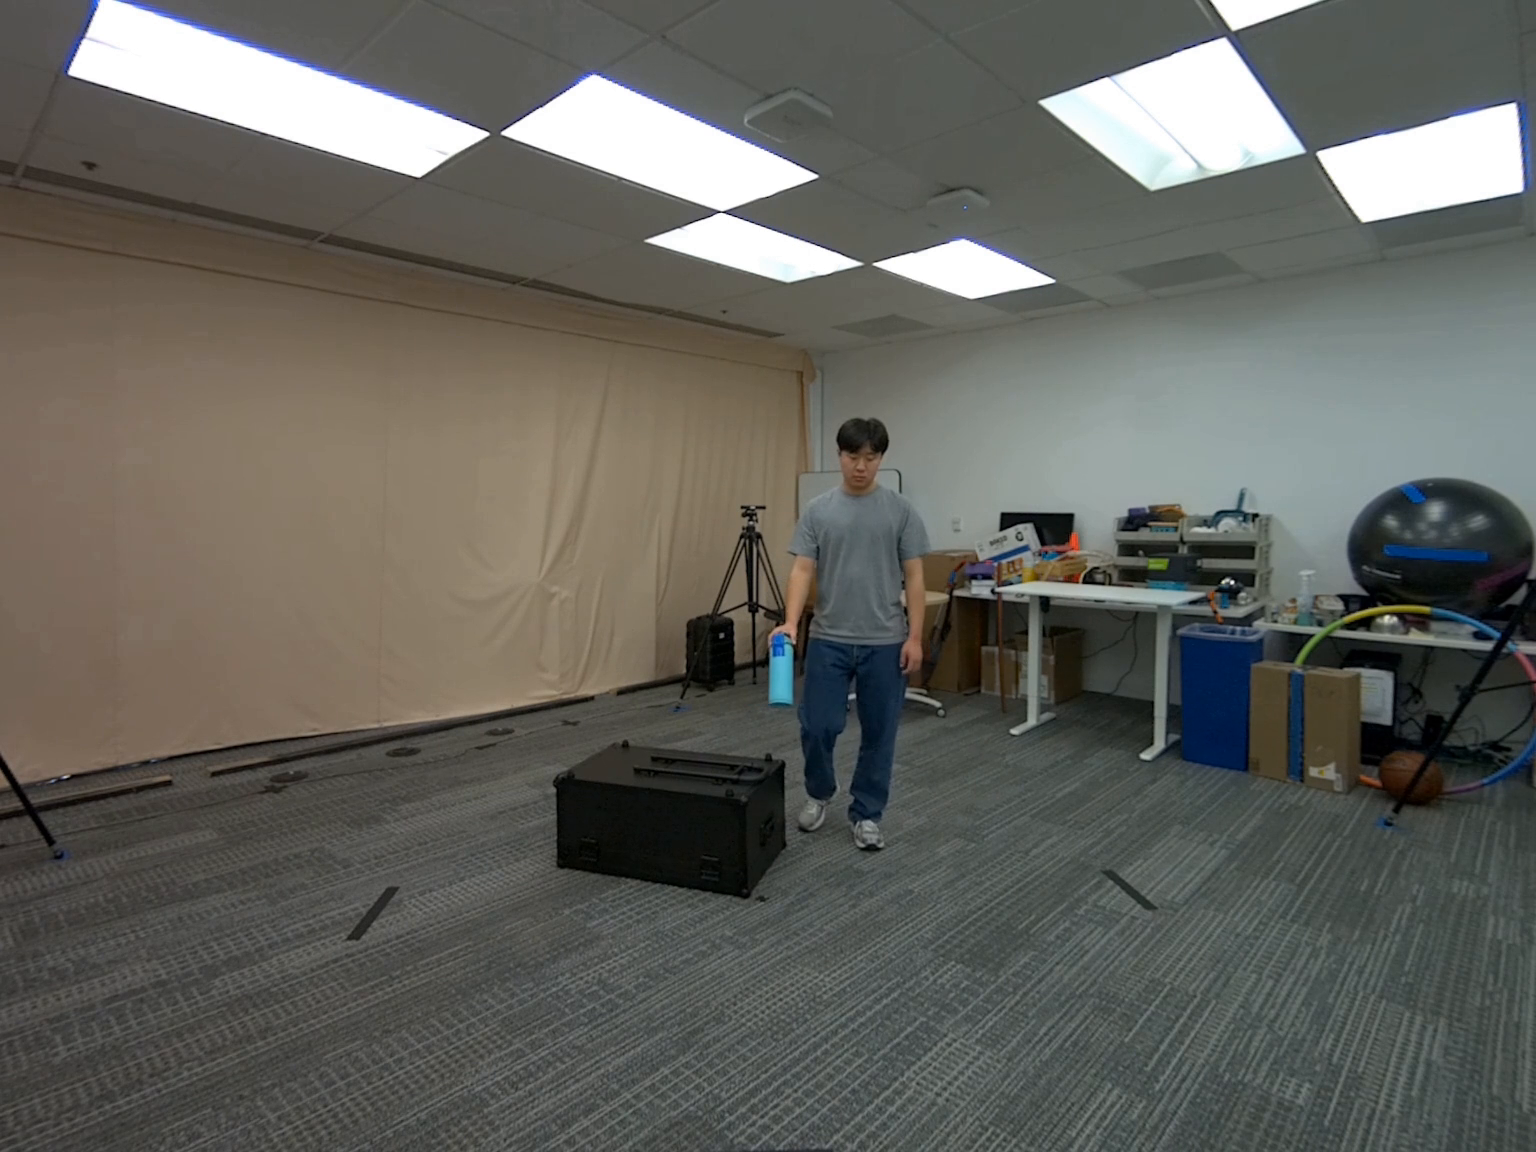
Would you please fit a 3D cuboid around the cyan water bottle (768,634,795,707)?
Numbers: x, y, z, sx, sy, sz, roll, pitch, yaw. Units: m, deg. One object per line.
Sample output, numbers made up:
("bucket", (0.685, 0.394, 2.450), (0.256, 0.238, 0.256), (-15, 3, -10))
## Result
("cyan water bottle", (0.049, 0.352, 3.175), (0.092, 0.287, 0.091), (1, -22, -1))
